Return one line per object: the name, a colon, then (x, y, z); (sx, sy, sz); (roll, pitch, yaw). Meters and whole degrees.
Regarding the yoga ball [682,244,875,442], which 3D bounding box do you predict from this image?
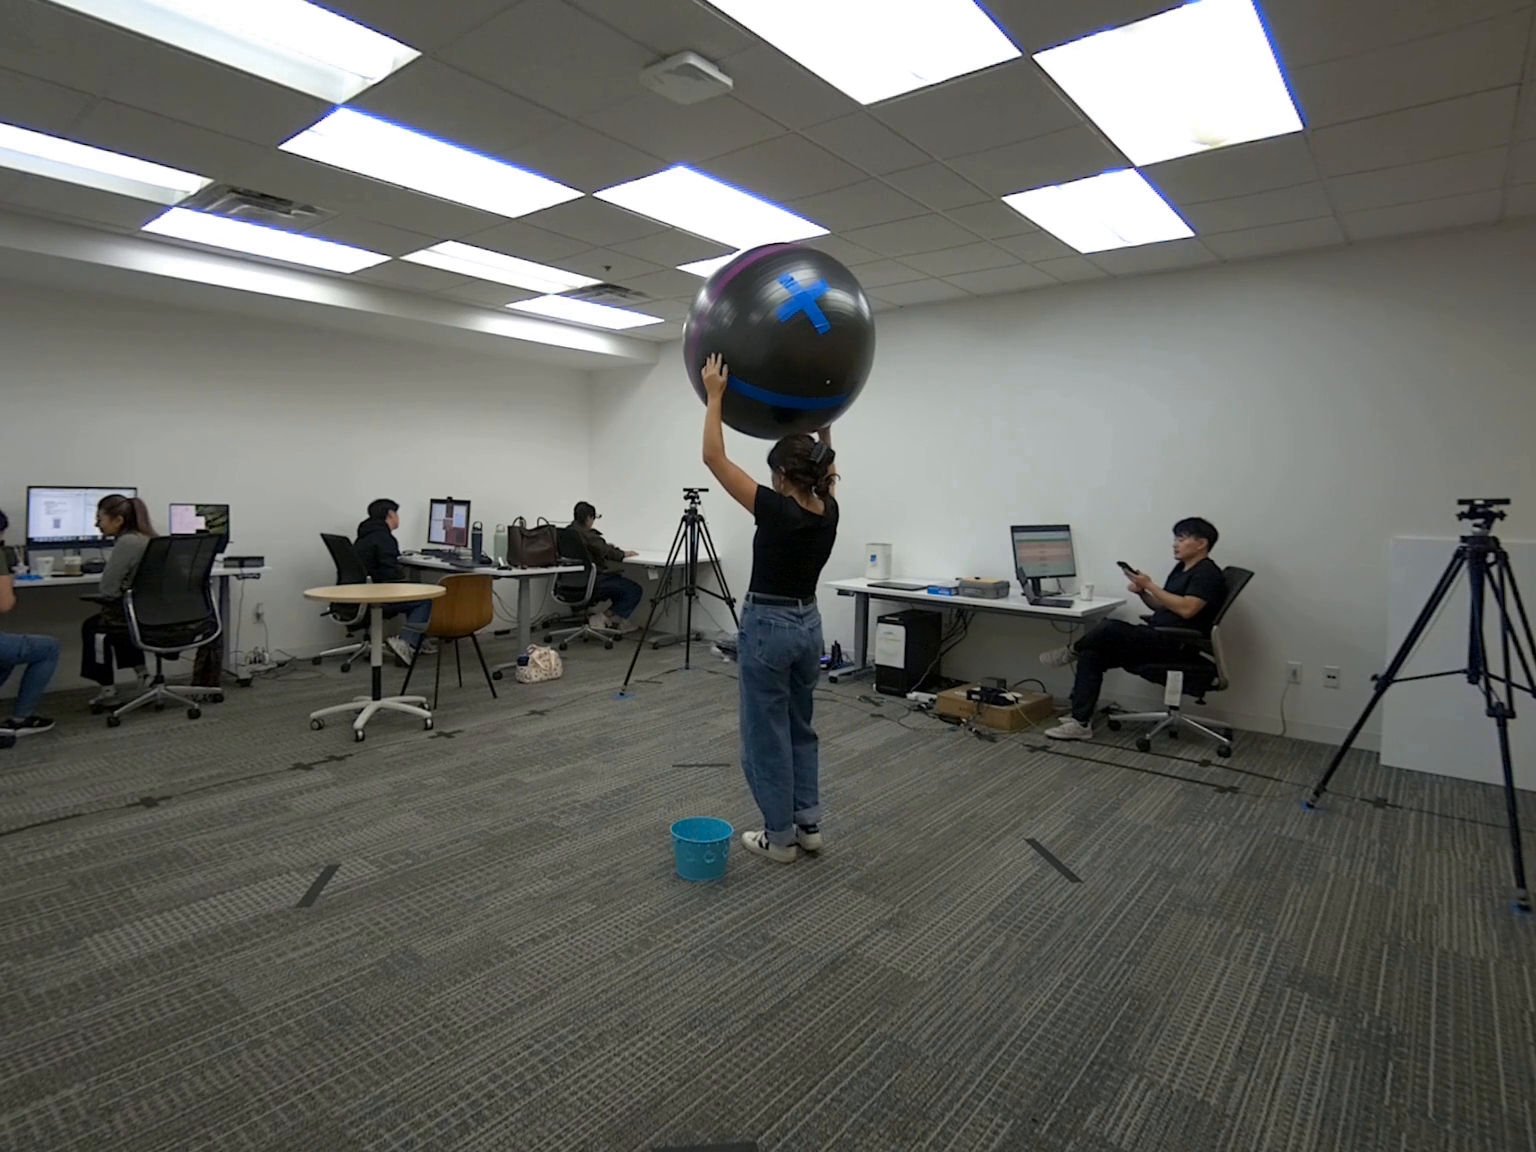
yoga ball: (0.031, -0.916, 3.357); (0.757, 0.756, 0.762); (1, 4, -2)
